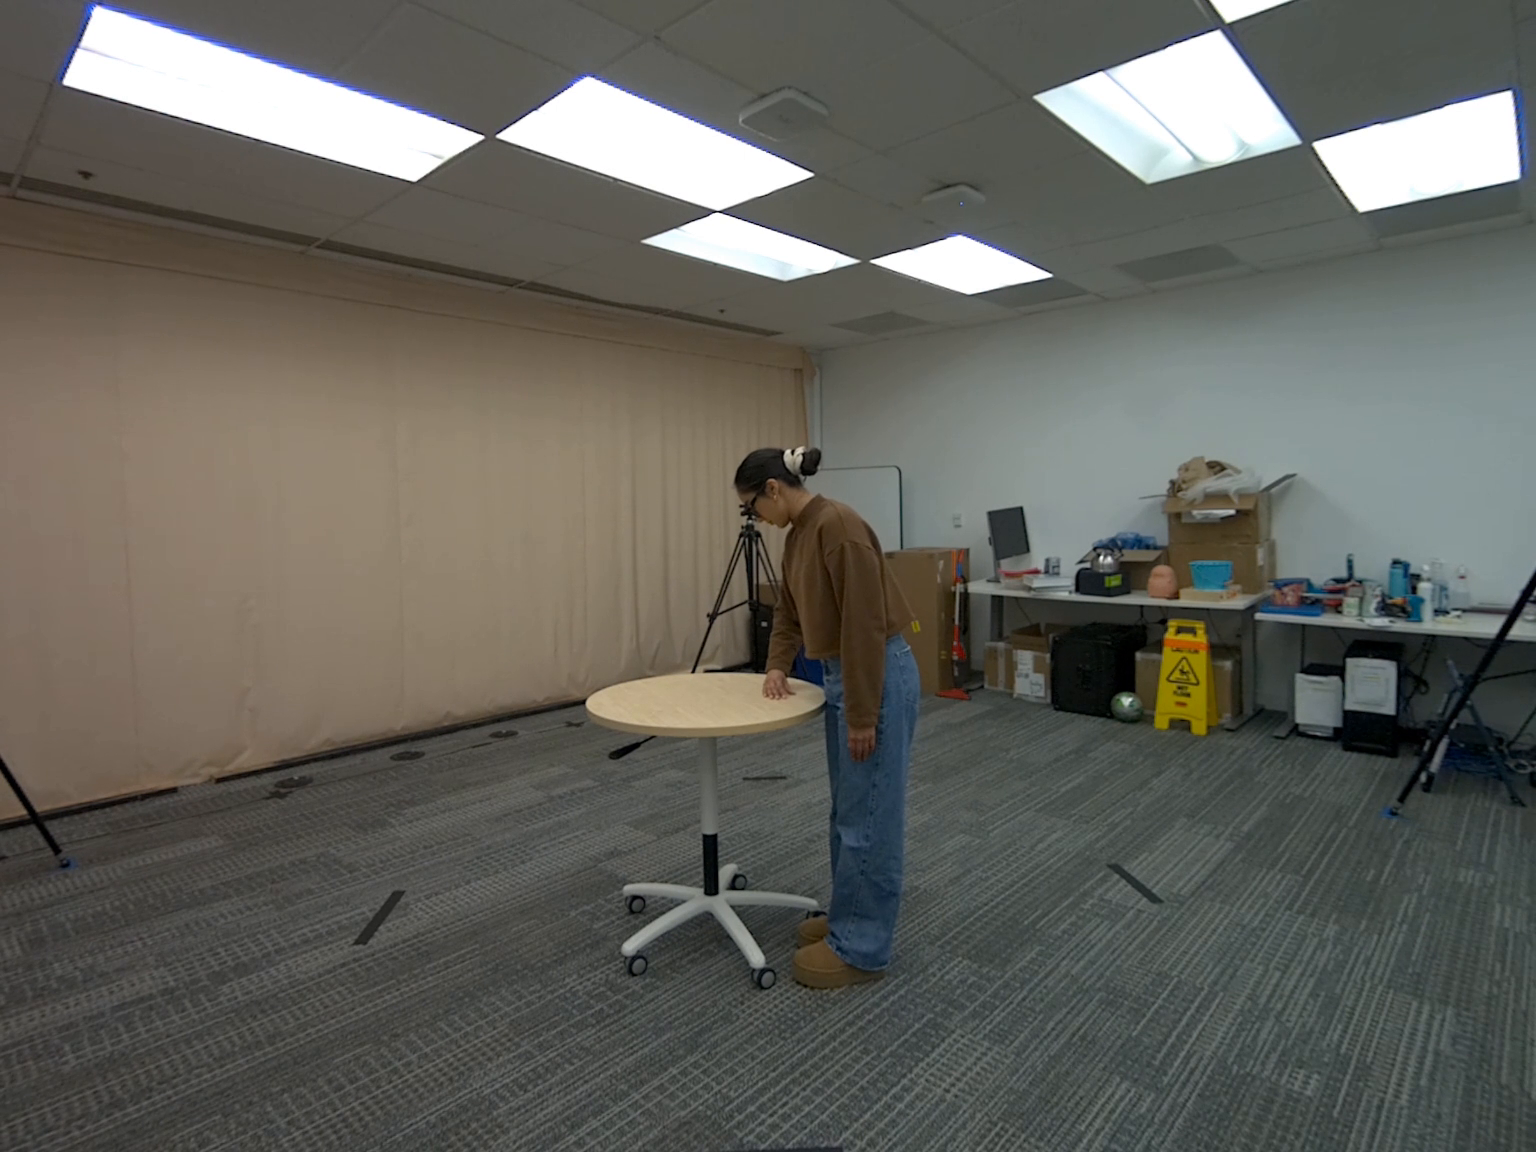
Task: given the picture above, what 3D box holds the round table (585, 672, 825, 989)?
[{"bbox_3d":[-0.188,0.782,2.710,0.763,0.792,0.767,-1,4,-2],"label":"round table"}]
